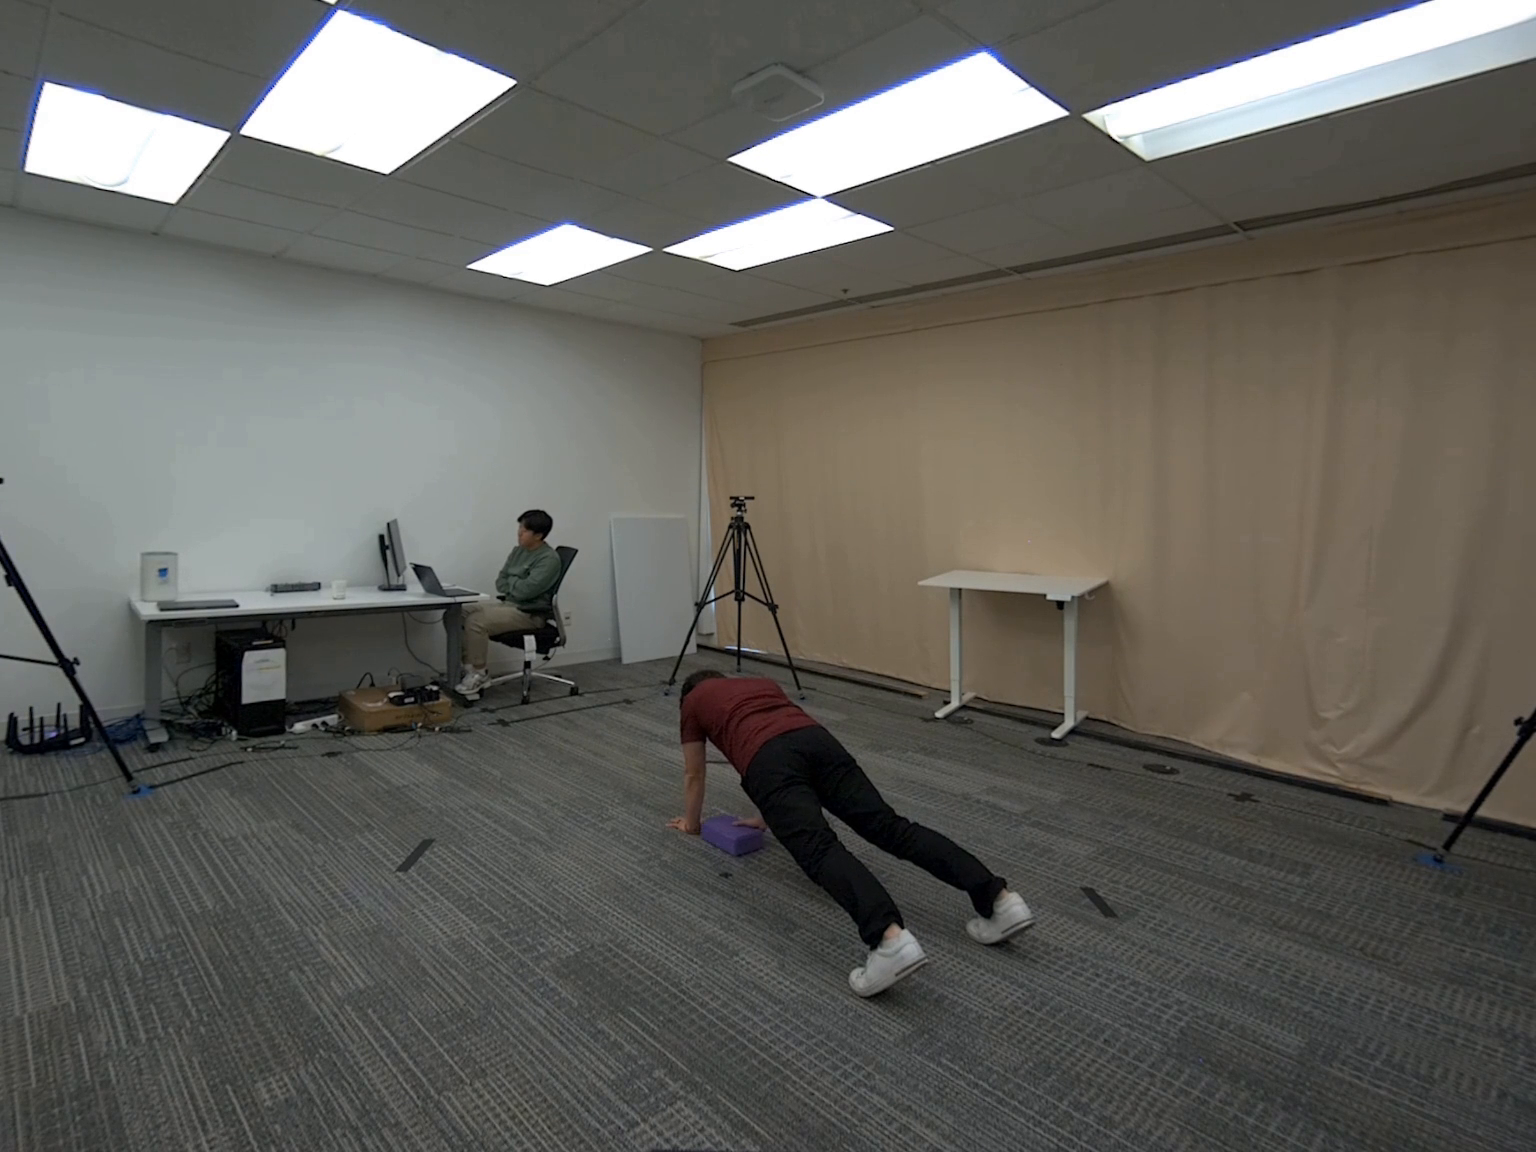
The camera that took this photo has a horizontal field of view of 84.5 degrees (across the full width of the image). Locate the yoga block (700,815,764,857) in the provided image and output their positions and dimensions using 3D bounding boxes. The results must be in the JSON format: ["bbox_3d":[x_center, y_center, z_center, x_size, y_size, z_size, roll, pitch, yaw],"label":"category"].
[{"bbox_3d":[-0.153,1.037,3.381,0.145,0.076,0.235,-3,6,-41],"label":"yoga block"}]
